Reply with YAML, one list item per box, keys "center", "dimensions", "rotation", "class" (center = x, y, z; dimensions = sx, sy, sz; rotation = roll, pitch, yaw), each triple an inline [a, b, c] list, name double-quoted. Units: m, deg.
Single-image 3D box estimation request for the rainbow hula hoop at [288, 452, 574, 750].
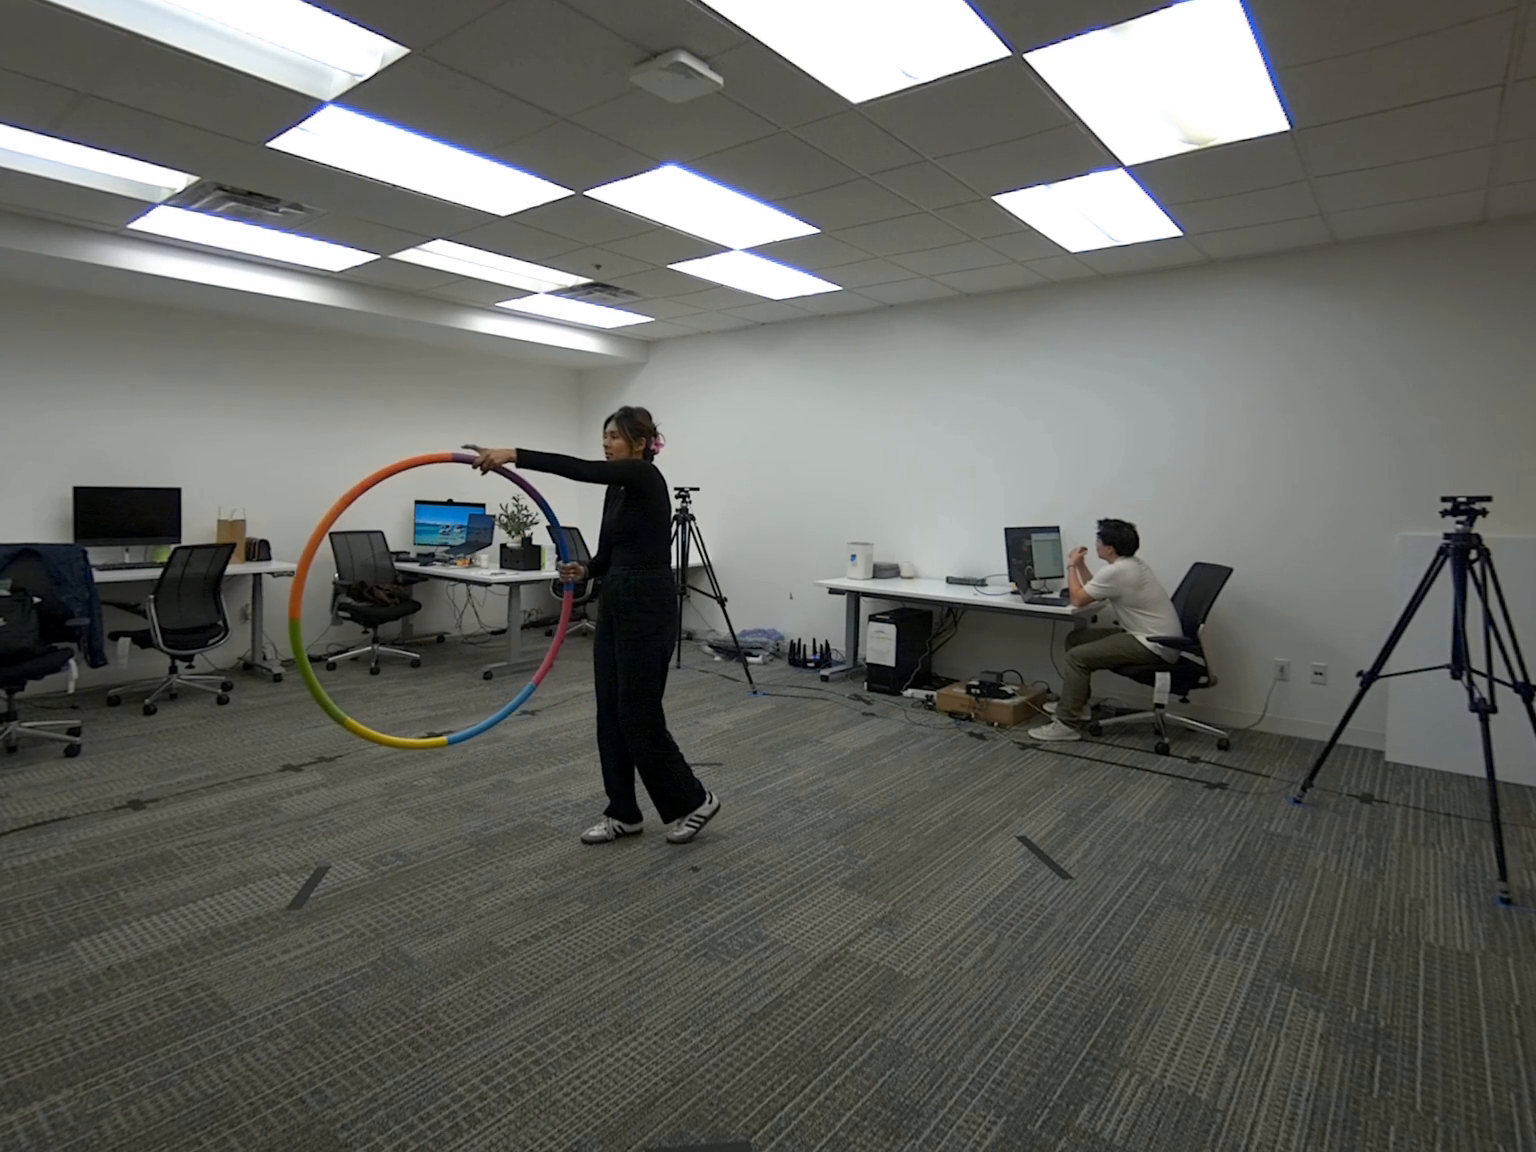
- center: [-1.075, 0.090, 2.831]
  dimensions: [0.956, 0.979, 0.053]
  rotation: [-3, 10, -44]
  class: "rainbow hula hoop"
